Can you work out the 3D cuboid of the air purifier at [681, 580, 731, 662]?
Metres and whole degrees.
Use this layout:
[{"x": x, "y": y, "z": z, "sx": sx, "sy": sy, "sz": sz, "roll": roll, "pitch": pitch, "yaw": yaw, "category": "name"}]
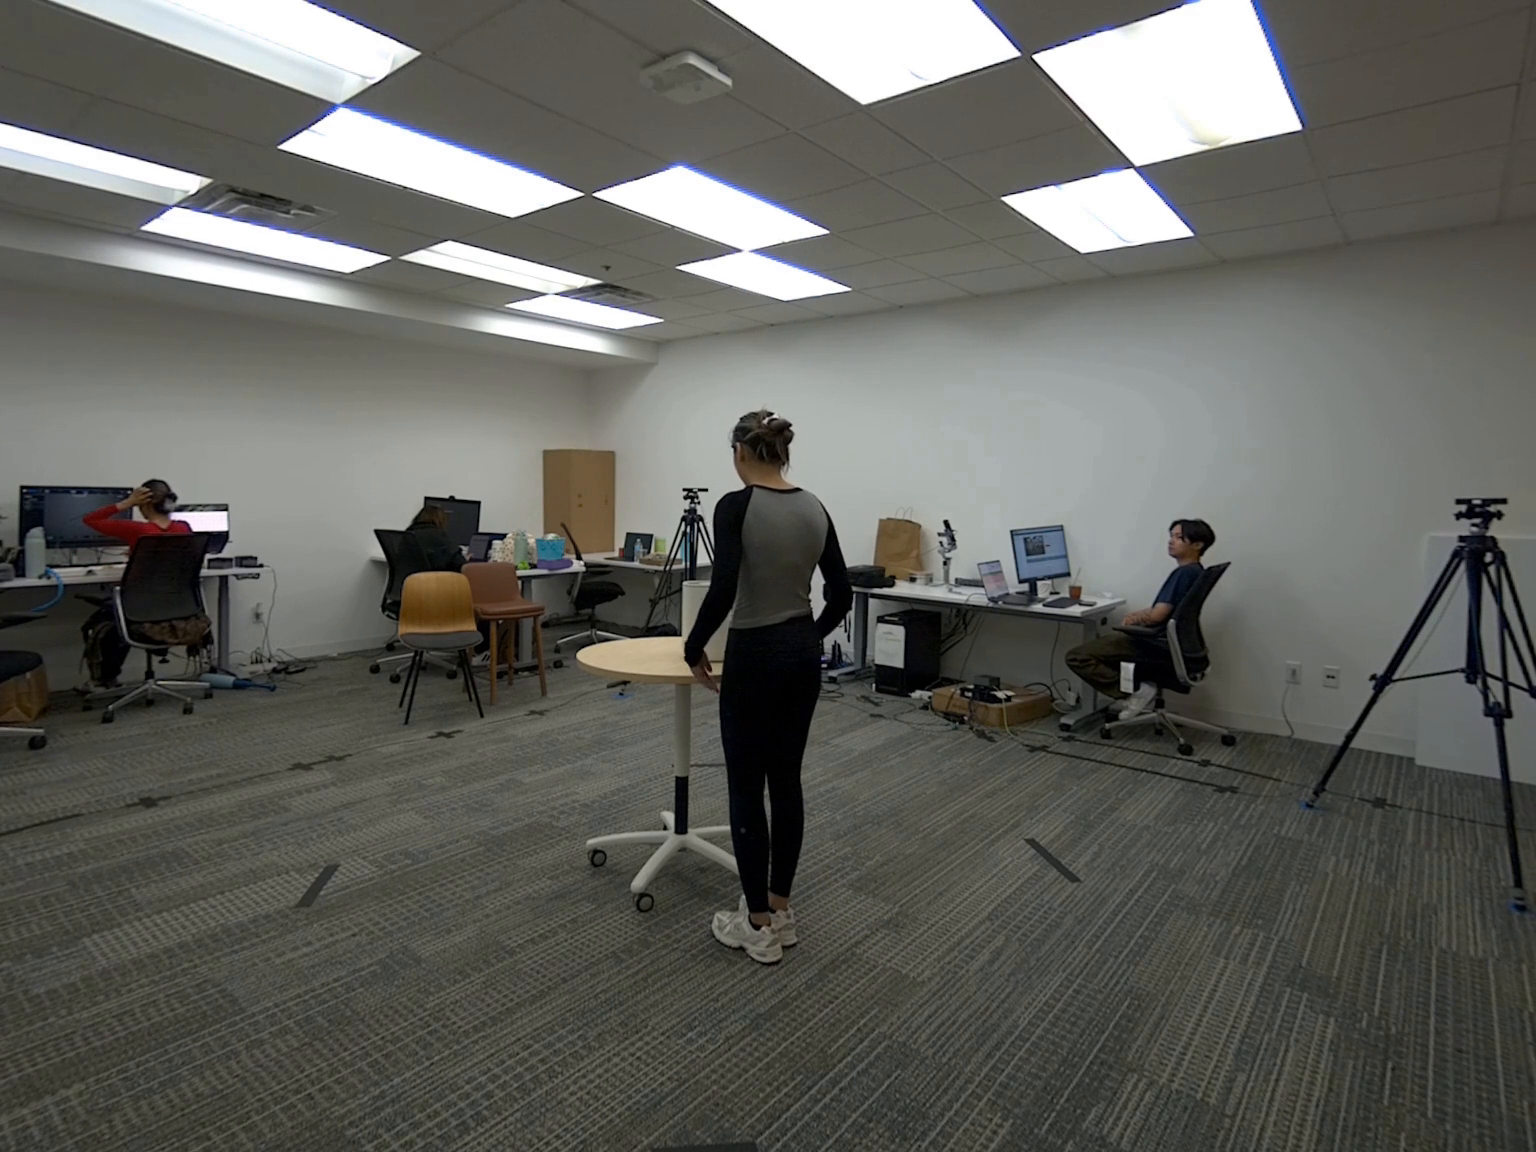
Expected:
[{"x": -0.226, "y": 0.153, "z": 2.975, "sx": 0.170, "sy": 0.265, "sz": 0.173, "roll": 1, "pitch": 3, "yaw": -5, "category": "air purifier"}]
